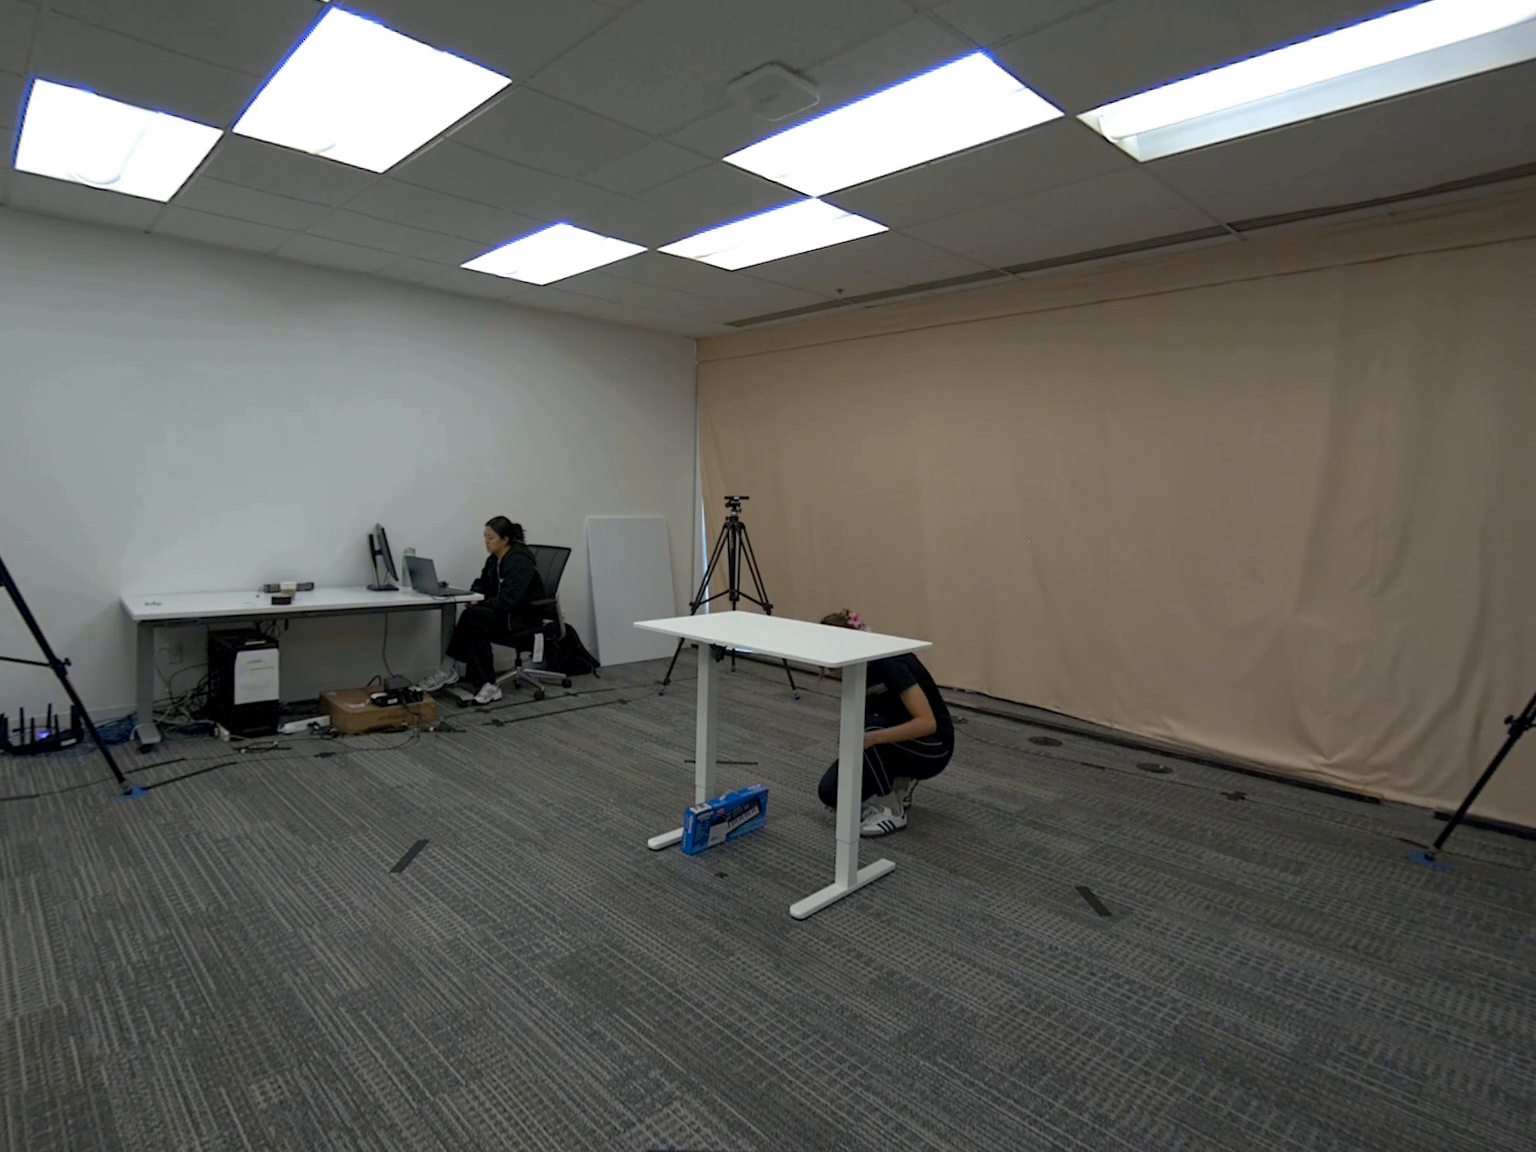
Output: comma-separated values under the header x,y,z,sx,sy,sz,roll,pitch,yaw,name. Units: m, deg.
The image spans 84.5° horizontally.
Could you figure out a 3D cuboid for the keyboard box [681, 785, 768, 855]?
x,y,z,sx,sy,sz,roll,pitch,yaw,name
-0.182,0.986,3.428,0.061,0.175,0.427,15,12,40,keyboard box
